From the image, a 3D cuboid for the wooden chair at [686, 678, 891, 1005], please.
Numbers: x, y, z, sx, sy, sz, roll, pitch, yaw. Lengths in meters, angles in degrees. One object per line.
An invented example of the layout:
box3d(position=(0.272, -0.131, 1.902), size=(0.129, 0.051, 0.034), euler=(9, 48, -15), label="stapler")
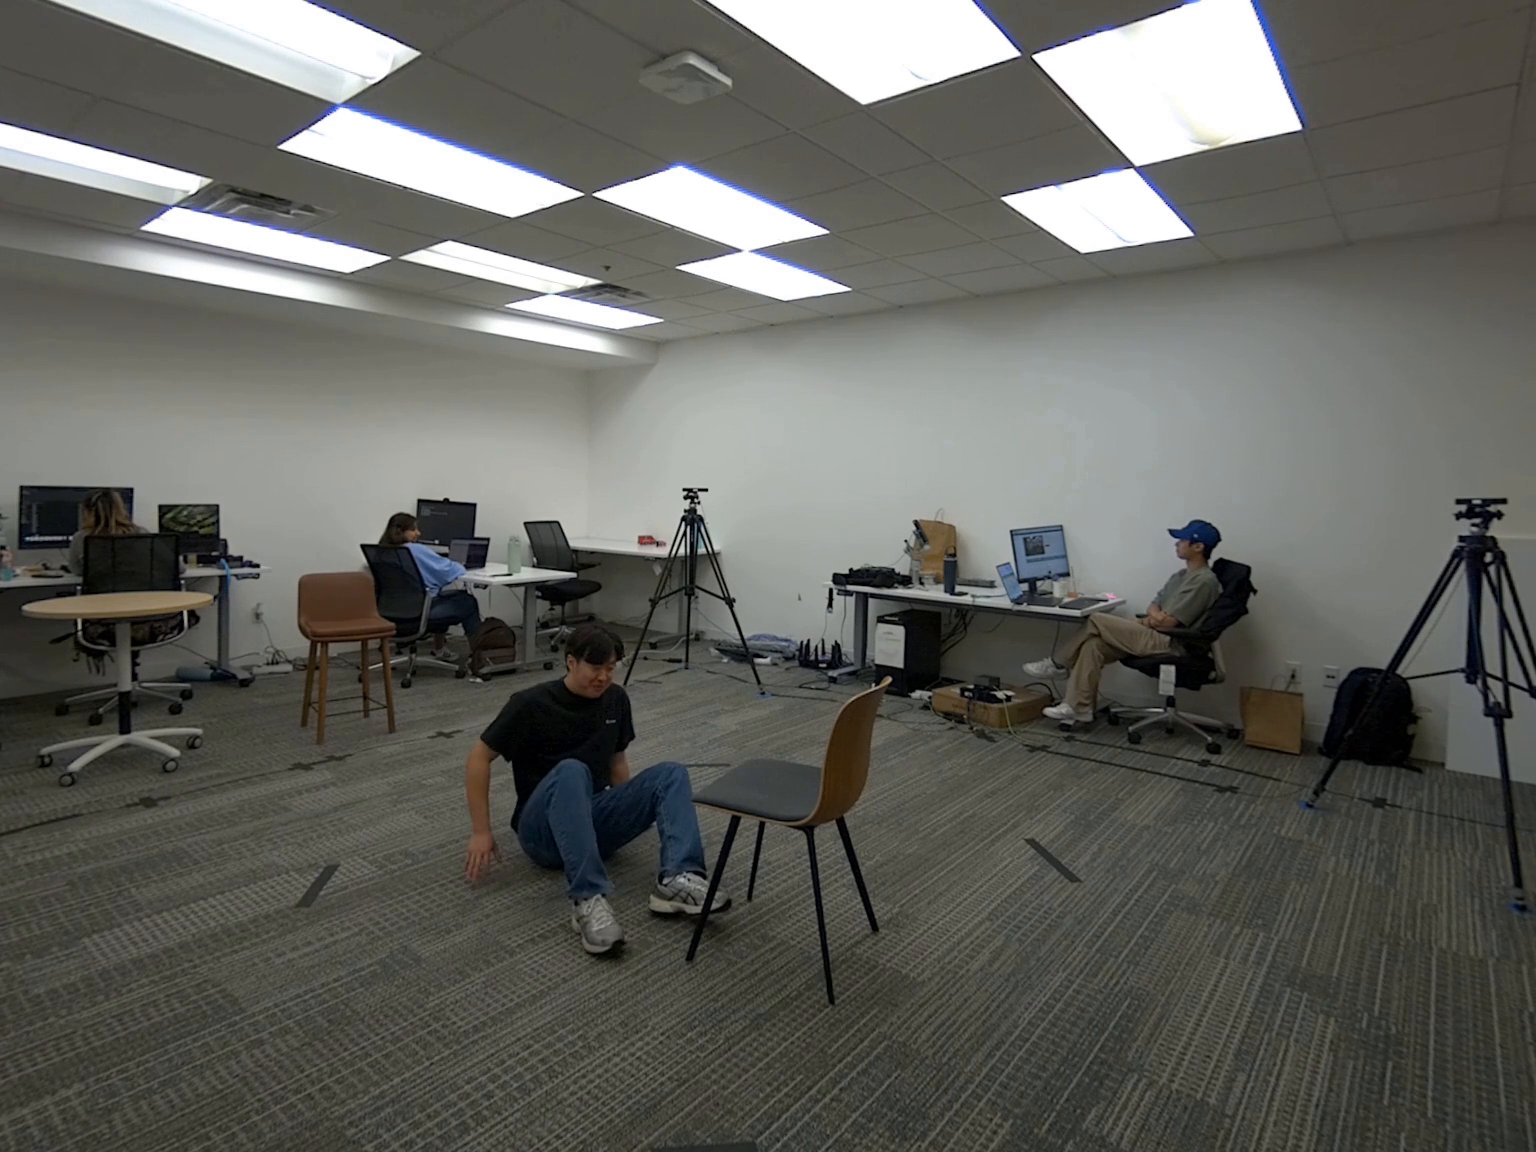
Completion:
box3d(position=(0.054, 0.699, 2.576), size=(0.538, 0.873, 0.467), euler=(8, 6, 25), label="wooden chair")
